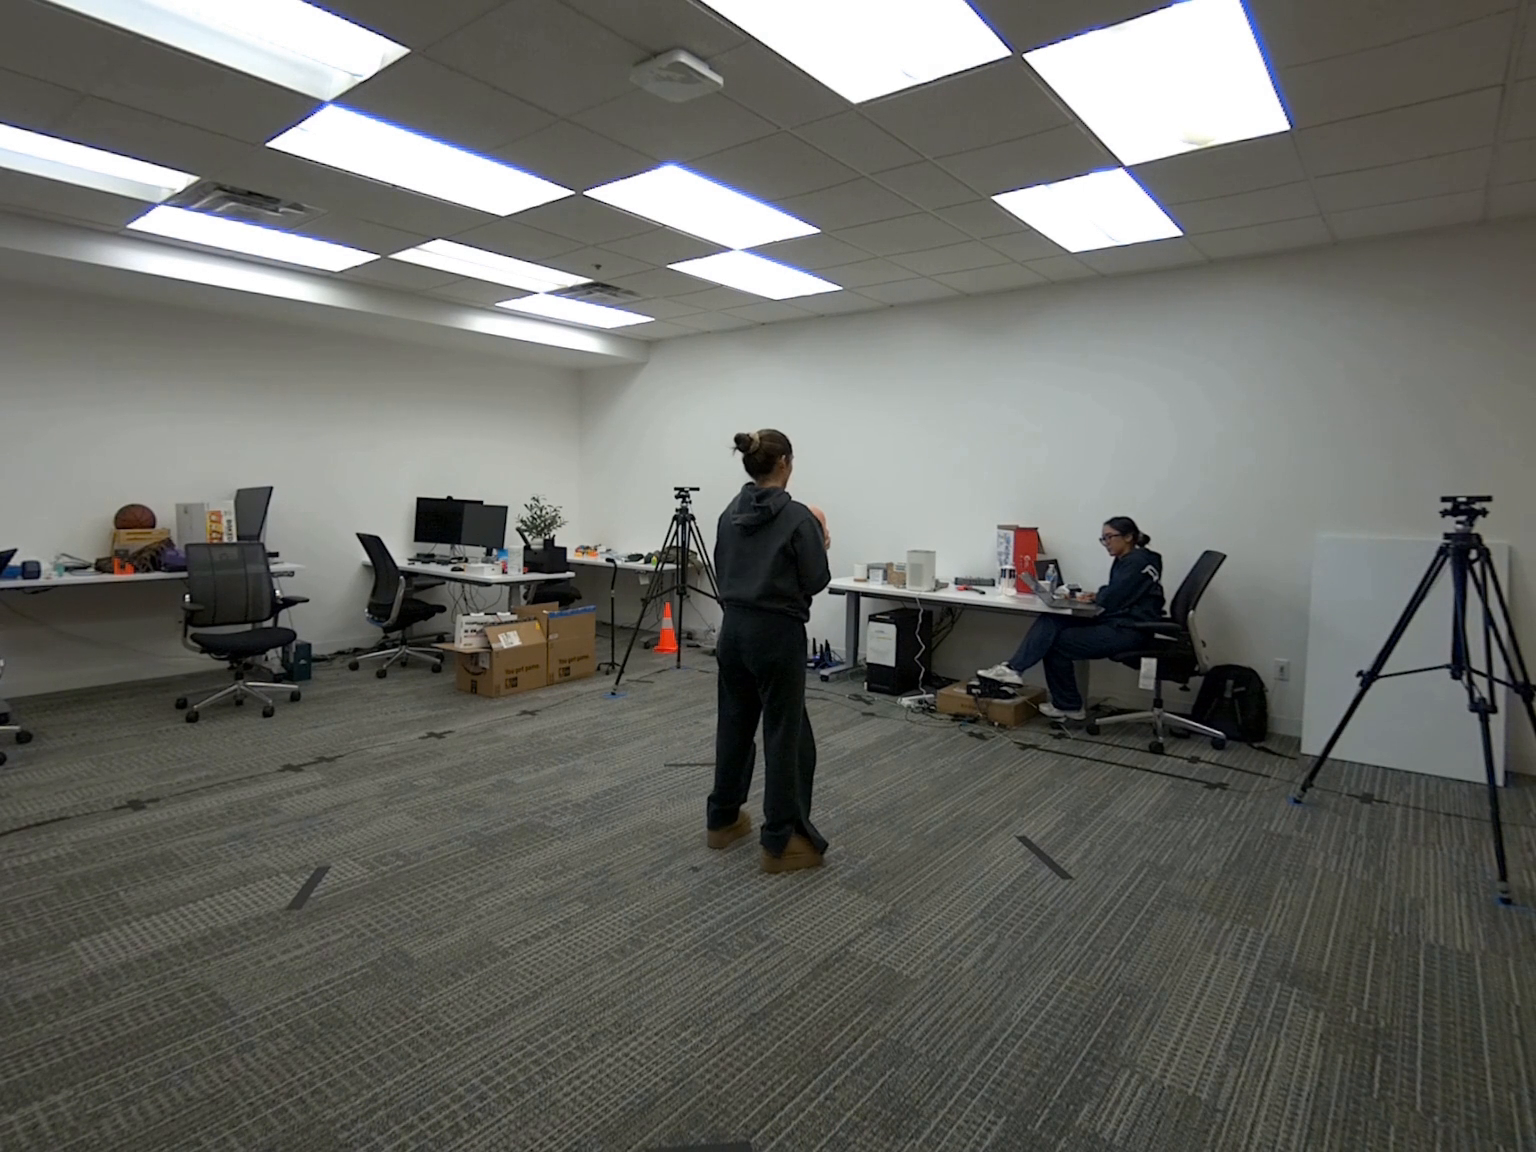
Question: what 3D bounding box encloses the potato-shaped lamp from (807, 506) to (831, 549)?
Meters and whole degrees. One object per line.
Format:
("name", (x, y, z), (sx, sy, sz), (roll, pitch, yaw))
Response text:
("potato-shaped lamp", (0.155, -0.178, 3.421), (0.170, 0.199, 0.165), (1, -14, 46))
